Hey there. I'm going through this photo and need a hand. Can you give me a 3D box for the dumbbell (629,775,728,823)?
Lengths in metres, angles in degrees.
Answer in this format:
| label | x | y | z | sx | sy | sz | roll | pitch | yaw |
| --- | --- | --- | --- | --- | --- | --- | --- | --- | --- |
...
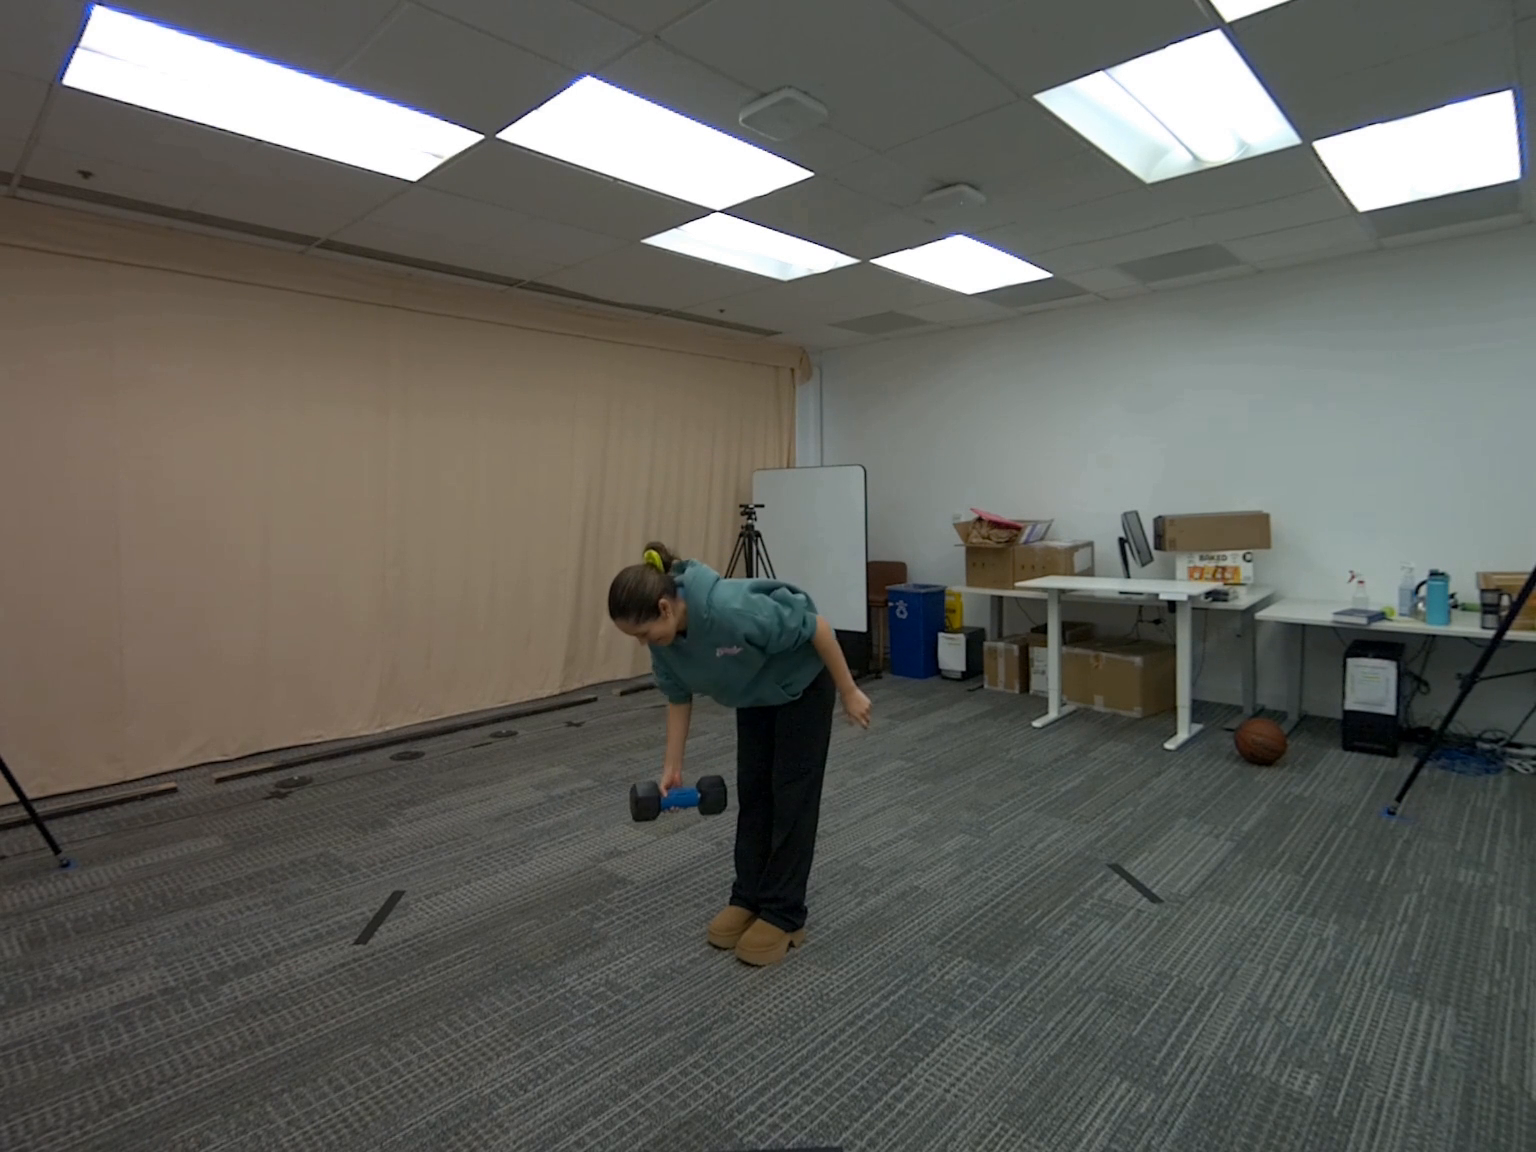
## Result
| label | x | y | z | sx | sy | sz | roll | pitch | yaw |
| --- | --- | --- | --- | --- | --- | --- | --- | --- | --- |
| dumbbell | -0.272 | 0.698 | 2.597 | 0.289 | 0.107 | 0.126 | 0 | 23 | -16 |
